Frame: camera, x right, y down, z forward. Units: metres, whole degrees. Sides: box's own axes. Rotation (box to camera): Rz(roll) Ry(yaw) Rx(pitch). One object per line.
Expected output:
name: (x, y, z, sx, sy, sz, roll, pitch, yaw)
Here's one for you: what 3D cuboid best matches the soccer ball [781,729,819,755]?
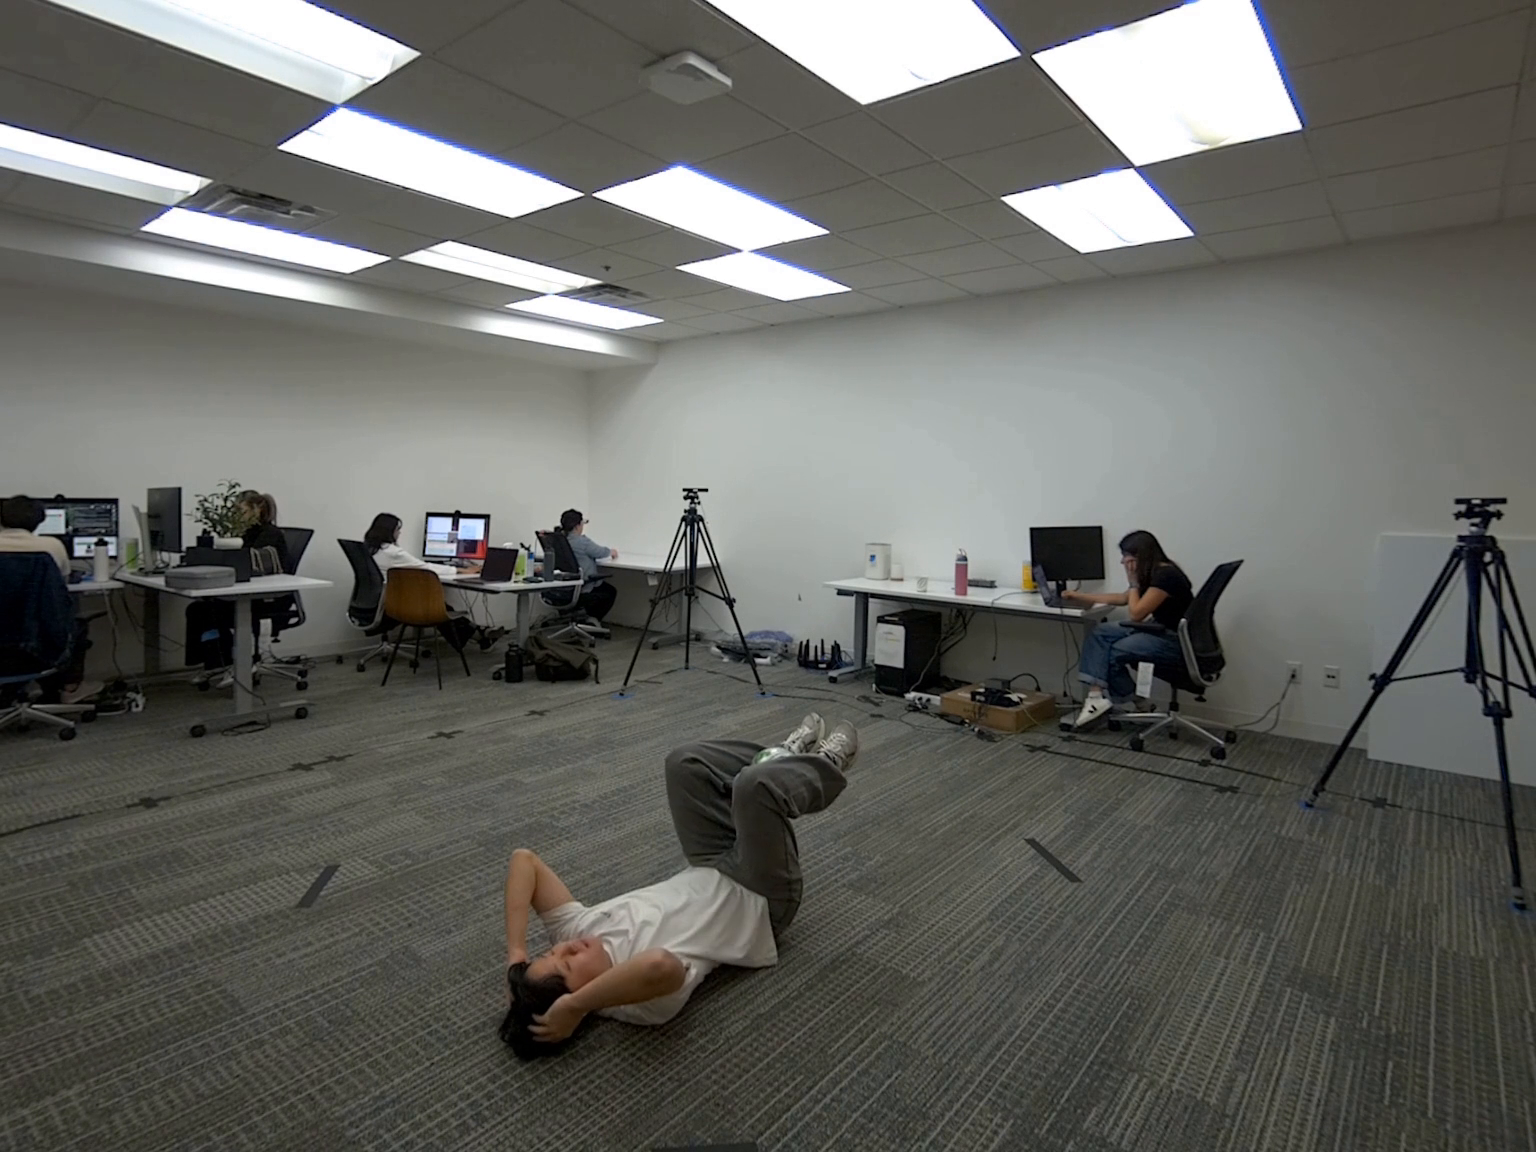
soccer ball: (0.033, 0.650, 2.759, 0.187, 0.187, 0.188, 1, 4, -2)
